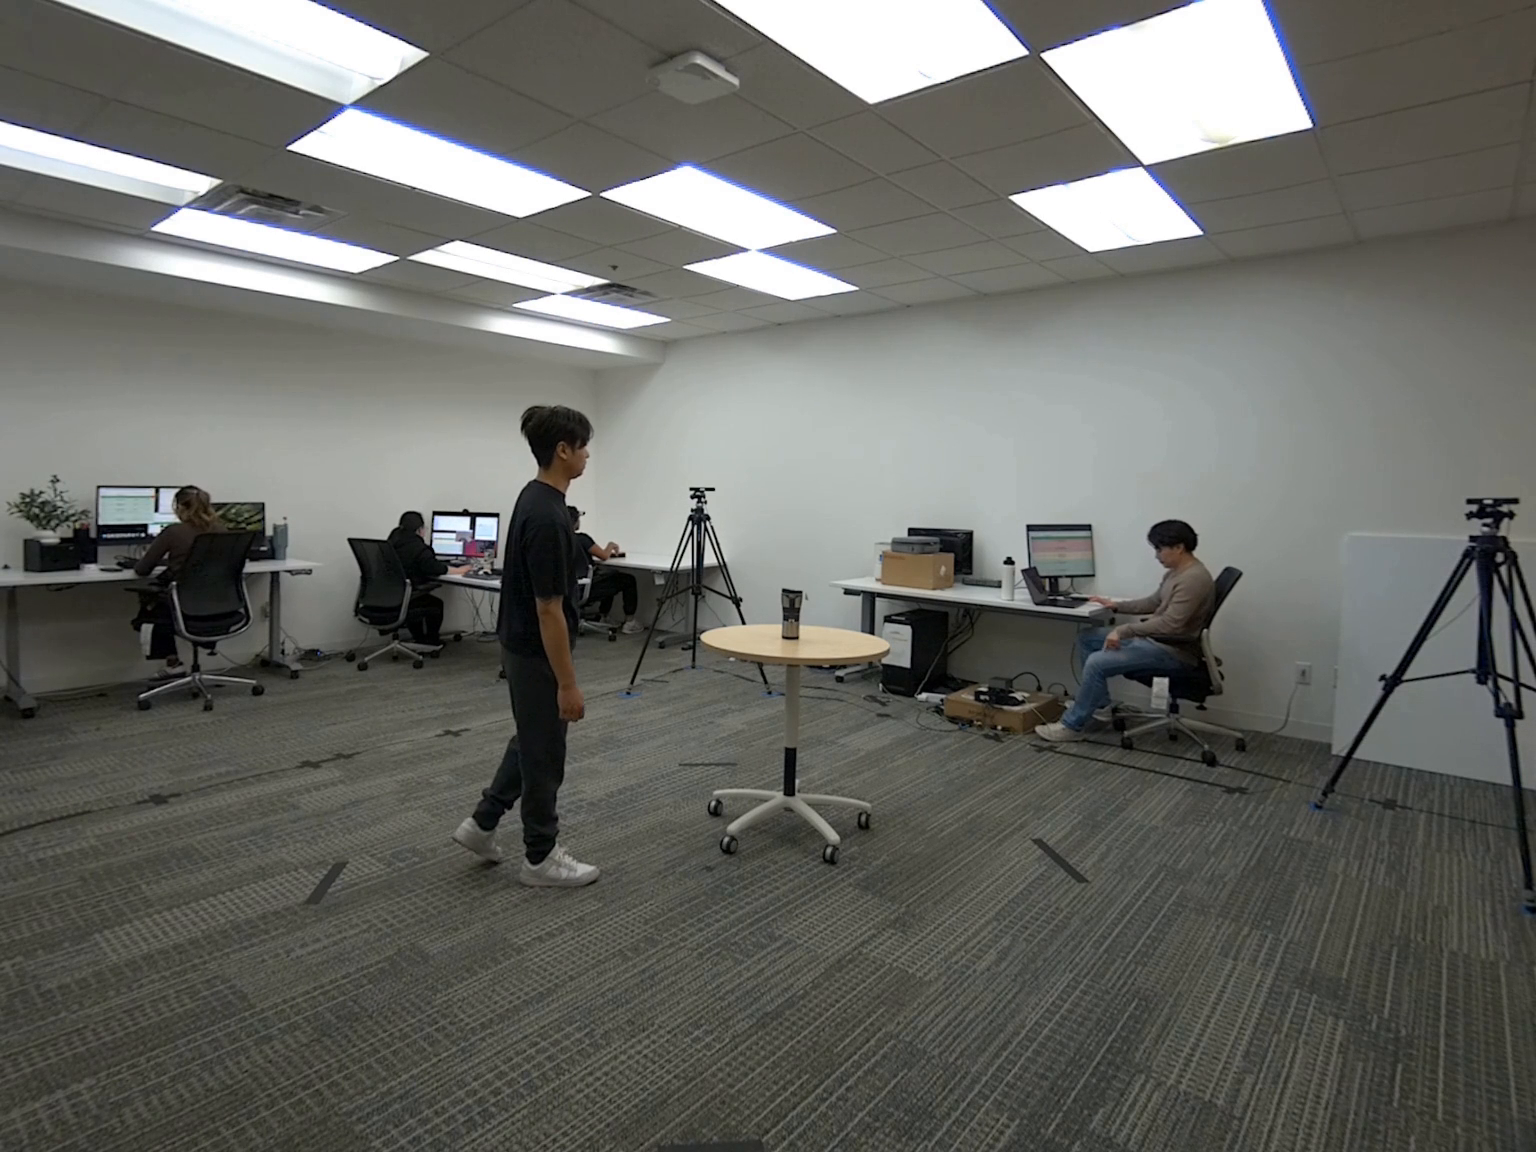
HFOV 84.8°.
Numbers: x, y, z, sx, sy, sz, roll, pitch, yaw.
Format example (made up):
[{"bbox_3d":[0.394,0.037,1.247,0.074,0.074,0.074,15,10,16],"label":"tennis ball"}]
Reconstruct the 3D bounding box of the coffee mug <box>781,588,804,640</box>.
[{"bbox_3d":[0.074,0.154,3.474,0.118,0.202,0.091,1,6,-44],"label":"coffee mug"}]
